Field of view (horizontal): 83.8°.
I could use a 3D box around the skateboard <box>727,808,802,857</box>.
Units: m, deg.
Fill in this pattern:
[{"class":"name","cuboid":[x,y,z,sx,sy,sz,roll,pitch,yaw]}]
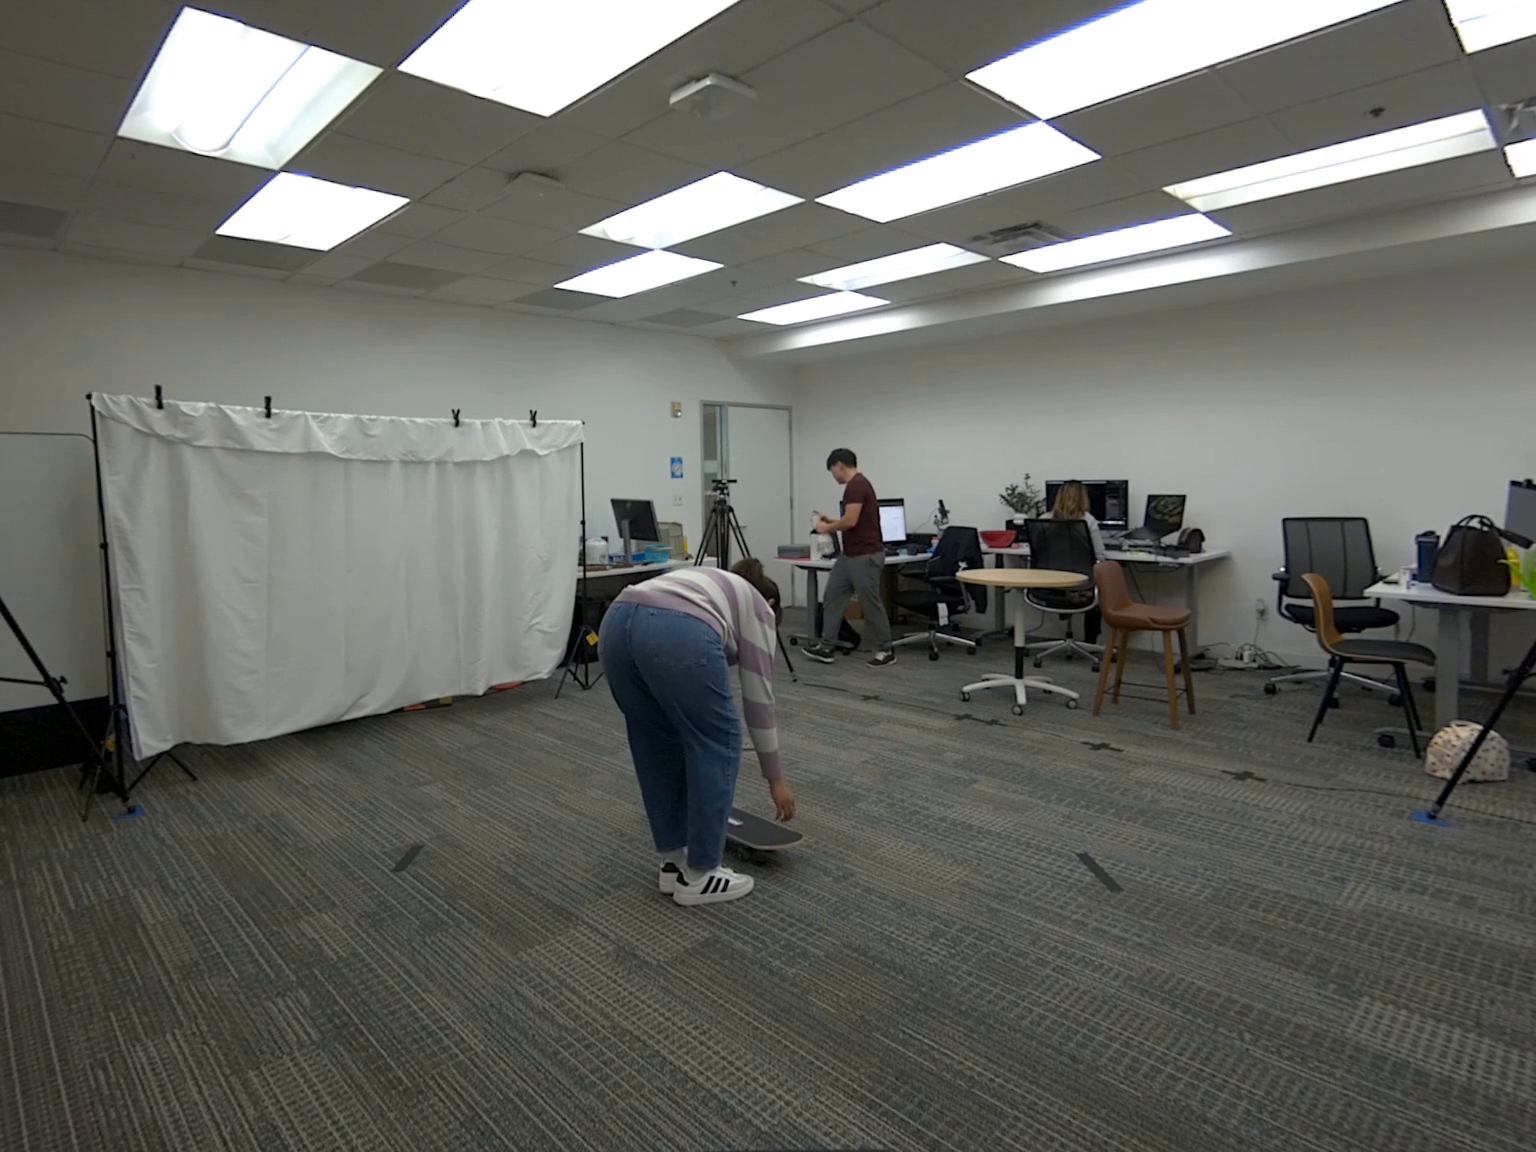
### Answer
[{"class":"skateboard","cuboid":[-0.174,0.968,3.322,0.188,0.110,0.810,-7,9,-44]}]
